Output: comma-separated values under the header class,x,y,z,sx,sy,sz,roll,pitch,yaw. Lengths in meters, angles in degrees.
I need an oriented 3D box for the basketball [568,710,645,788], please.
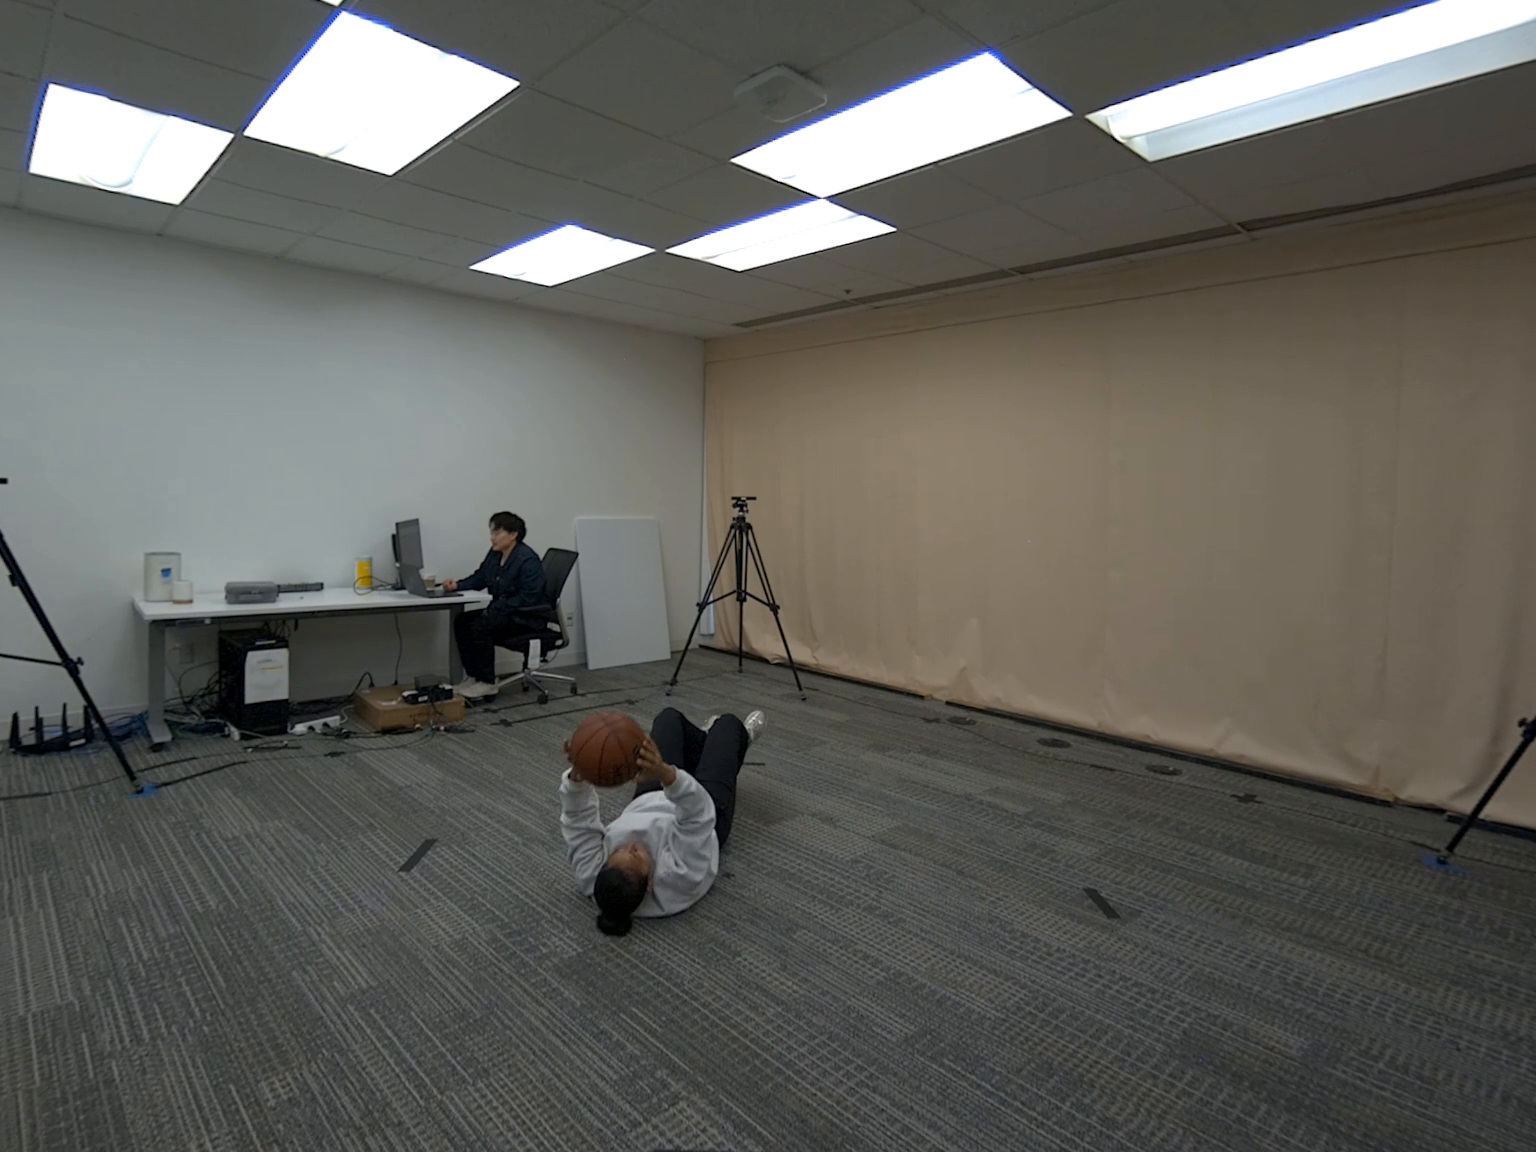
class,x,y,z,sx,sy,sz,roll,pitch,yaw
basketball,-0.498,0.555,2.646,0.236,0.235,0.237,1,5,-1
